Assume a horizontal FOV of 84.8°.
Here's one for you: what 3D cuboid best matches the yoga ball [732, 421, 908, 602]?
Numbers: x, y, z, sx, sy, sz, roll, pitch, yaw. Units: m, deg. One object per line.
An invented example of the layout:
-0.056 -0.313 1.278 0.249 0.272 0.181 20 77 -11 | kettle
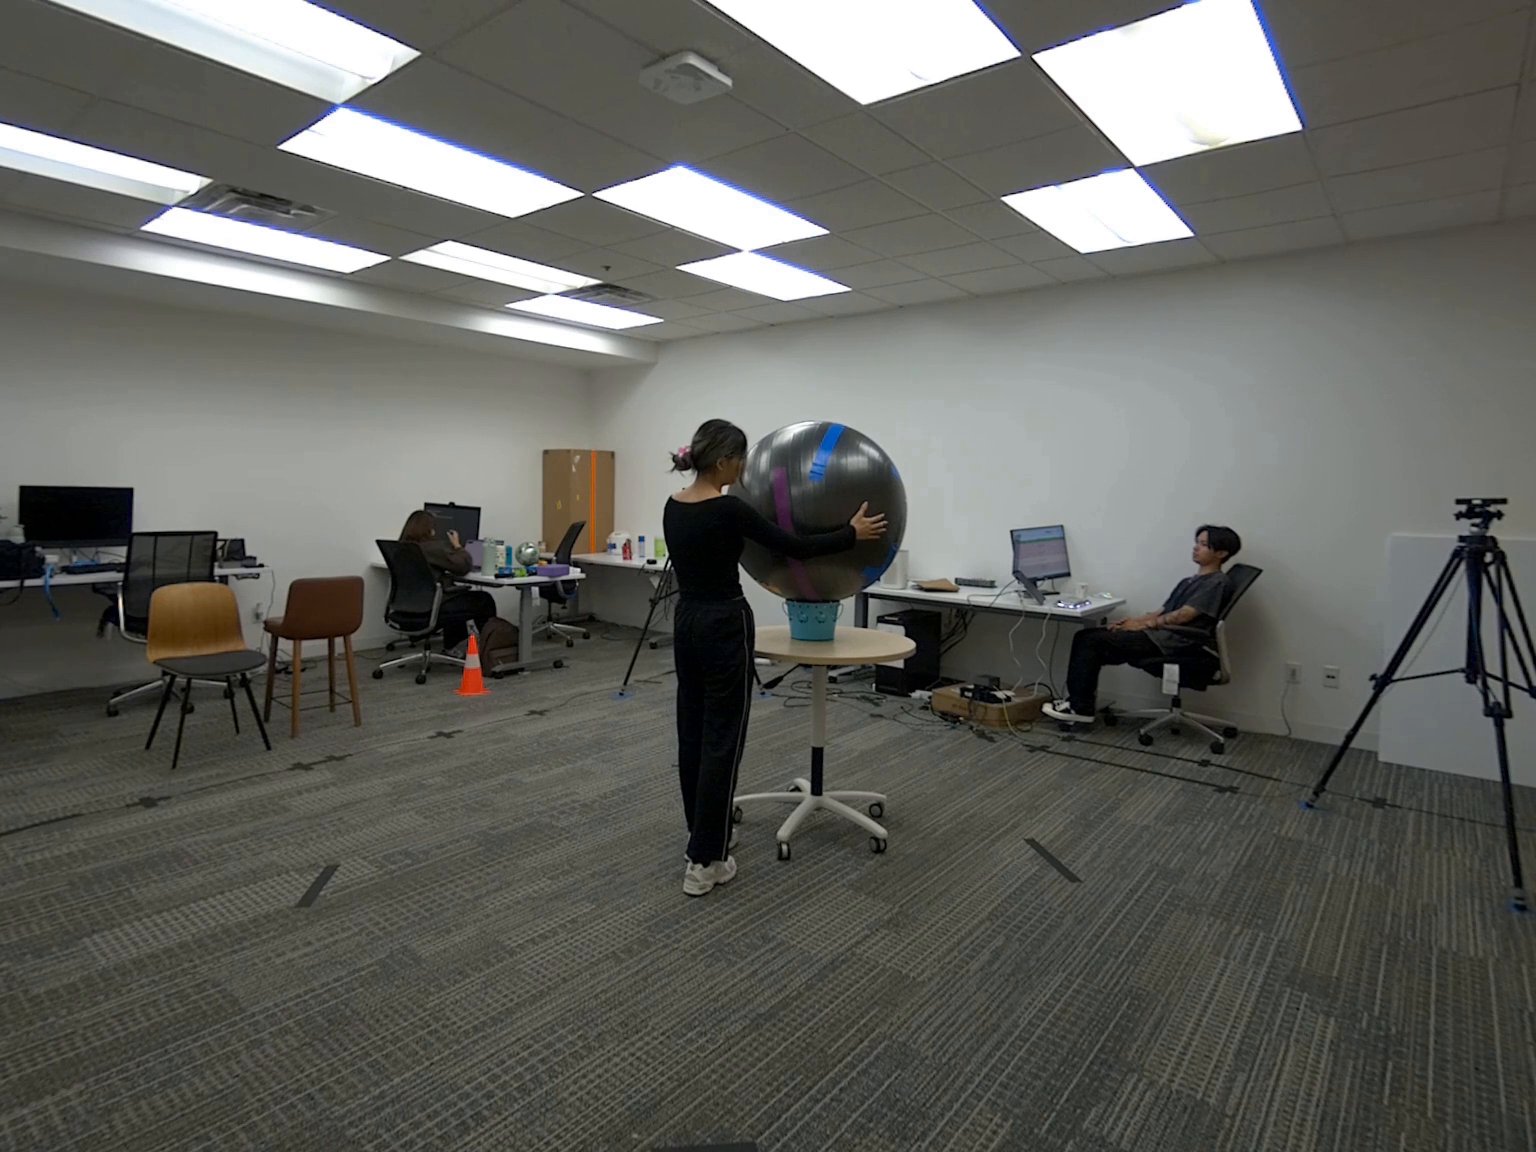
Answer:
0.196 -0.263 3.554 0.757 0.756 0.762 1 4 -2 | yoga ball
